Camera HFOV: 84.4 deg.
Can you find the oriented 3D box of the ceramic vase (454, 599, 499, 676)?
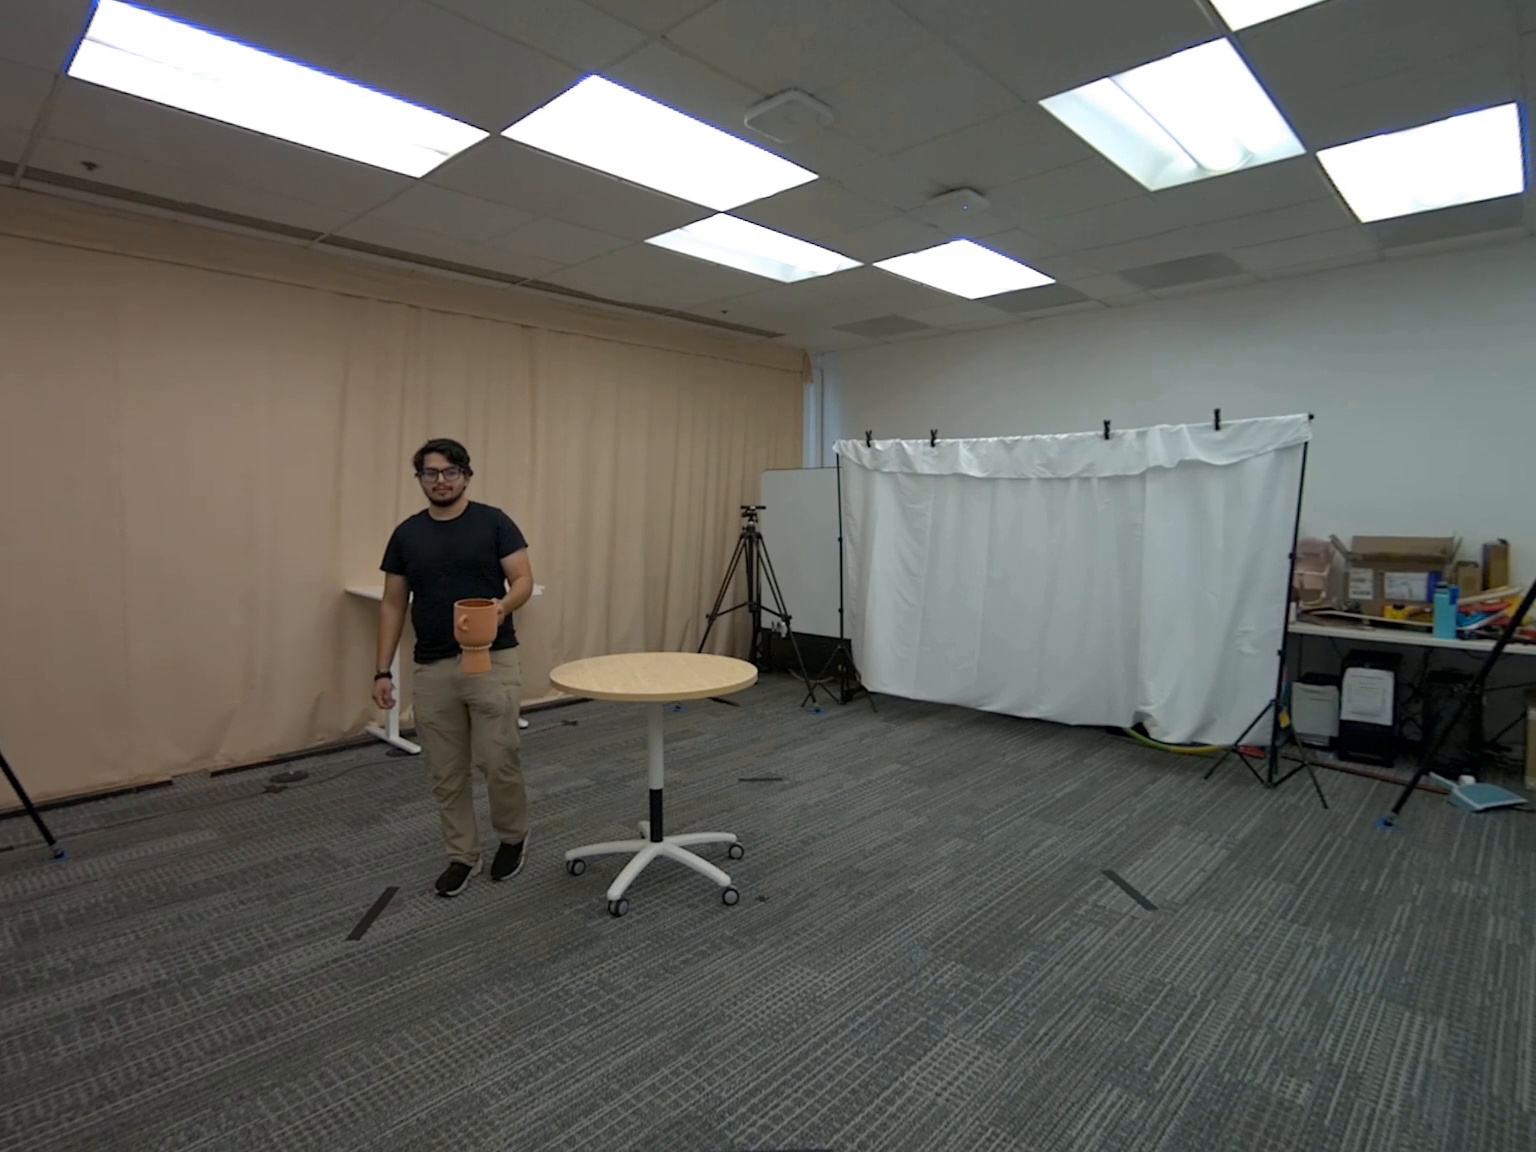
[{"bbox_3d":[-0.943,0.200,2.708,0.154,0.219,0.139,-5,11,-40],"label":"ceramic vase"}]
